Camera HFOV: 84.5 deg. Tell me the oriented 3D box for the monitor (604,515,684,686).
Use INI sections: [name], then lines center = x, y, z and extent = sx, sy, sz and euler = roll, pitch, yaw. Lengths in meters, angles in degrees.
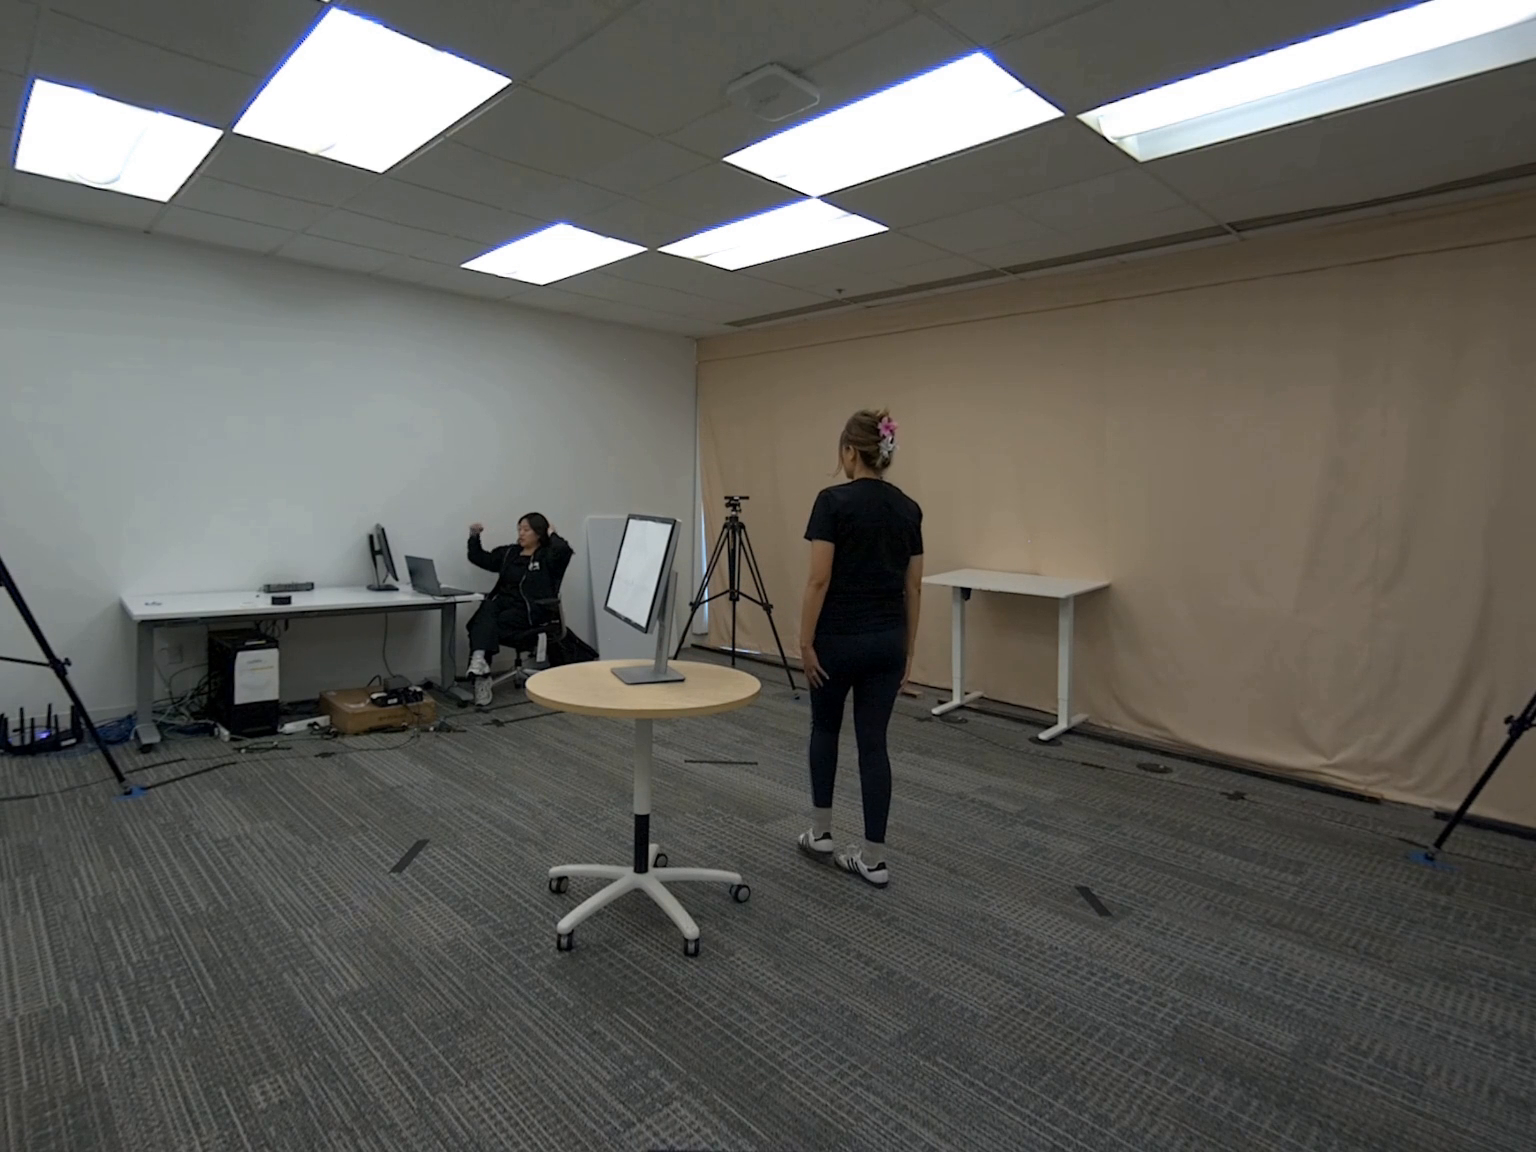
[monitor]
center = -0.404, 0.077, 2.843
extent = 0.183, 0.521, 0.550
euler = 1, 4, -26
